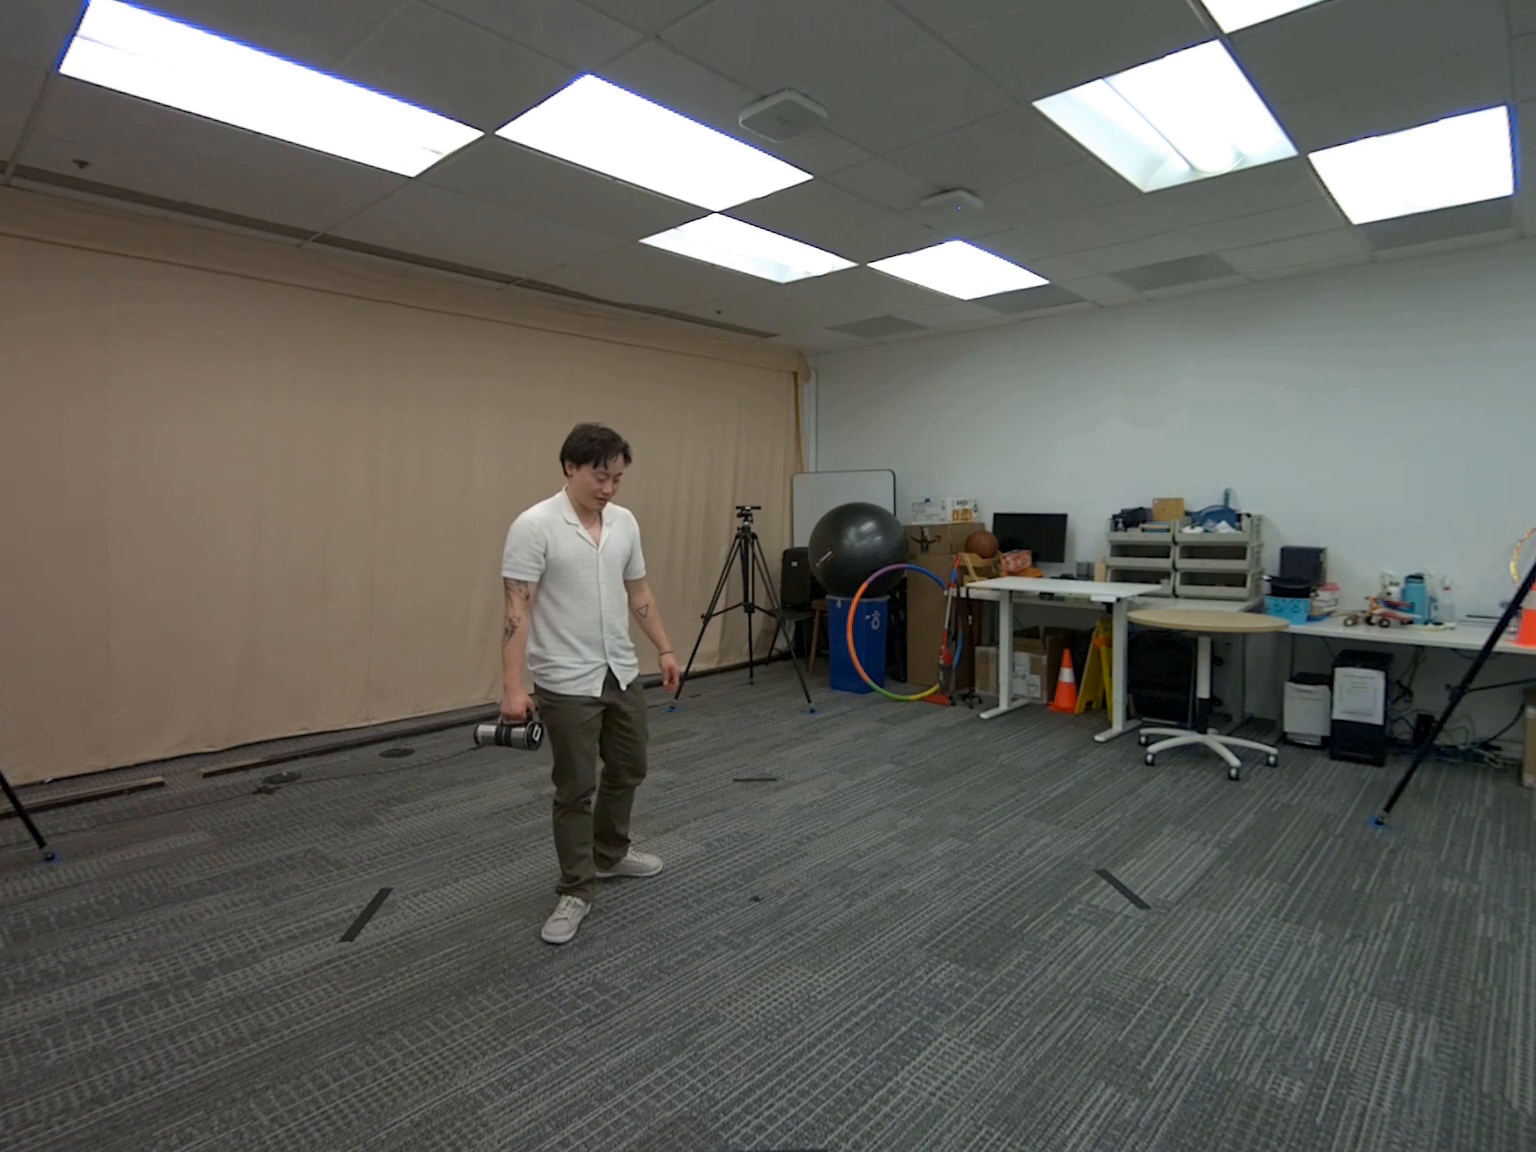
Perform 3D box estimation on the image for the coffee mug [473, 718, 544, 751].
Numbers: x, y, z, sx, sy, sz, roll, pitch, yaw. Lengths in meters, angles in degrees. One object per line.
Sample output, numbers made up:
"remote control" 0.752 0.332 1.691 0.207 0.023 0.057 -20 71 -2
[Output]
"coffee mug" -0.802 0.472 2.612 0.207 0.122 0.086 1 -4 18
